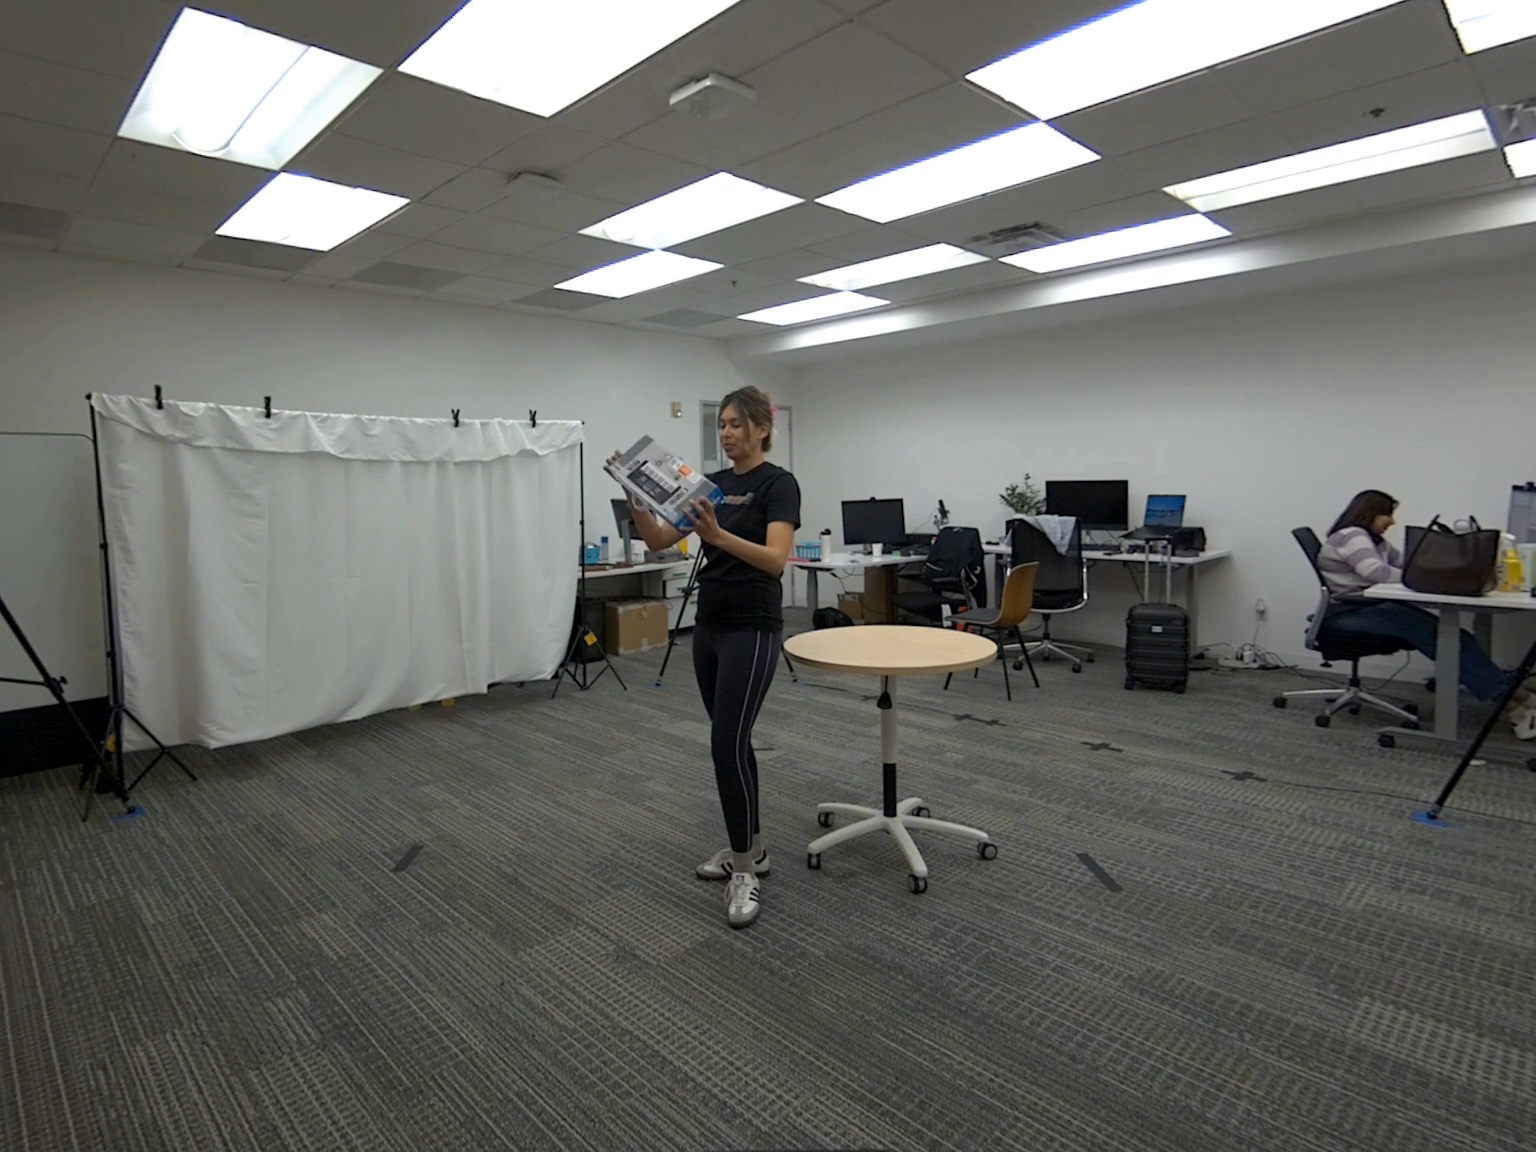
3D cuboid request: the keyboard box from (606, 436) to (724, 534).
[{"bbox_3d":[-0.321,-0.293,2.670,0.454,0.176,0.057,39,-12,45],"label":"keyboard box"}]
